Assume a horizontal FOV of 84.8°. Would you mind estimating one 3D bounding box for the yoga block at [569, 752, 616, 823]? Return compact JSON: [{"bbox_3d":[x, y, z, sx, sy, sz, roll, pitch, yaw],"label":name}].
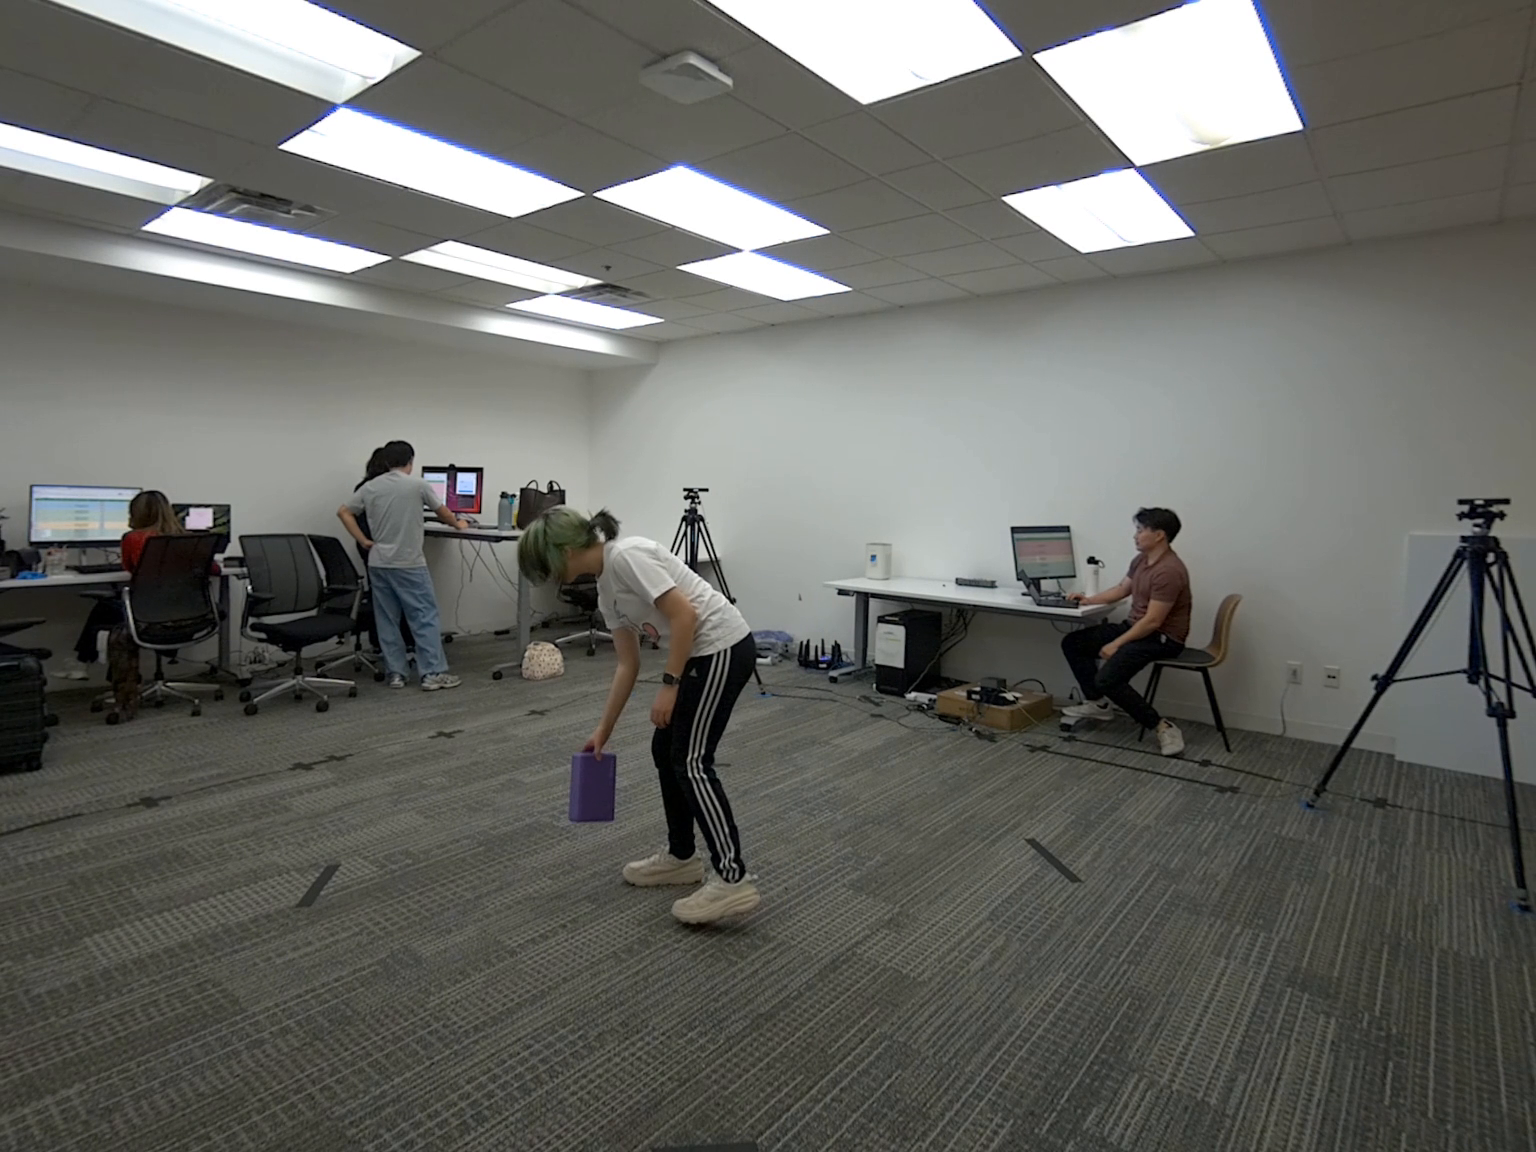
[{"bbox_3d":[-0.626,0.735,2.983,0.144,0.232,0.078,10,-15,-36],"label":"yoga block"}]
